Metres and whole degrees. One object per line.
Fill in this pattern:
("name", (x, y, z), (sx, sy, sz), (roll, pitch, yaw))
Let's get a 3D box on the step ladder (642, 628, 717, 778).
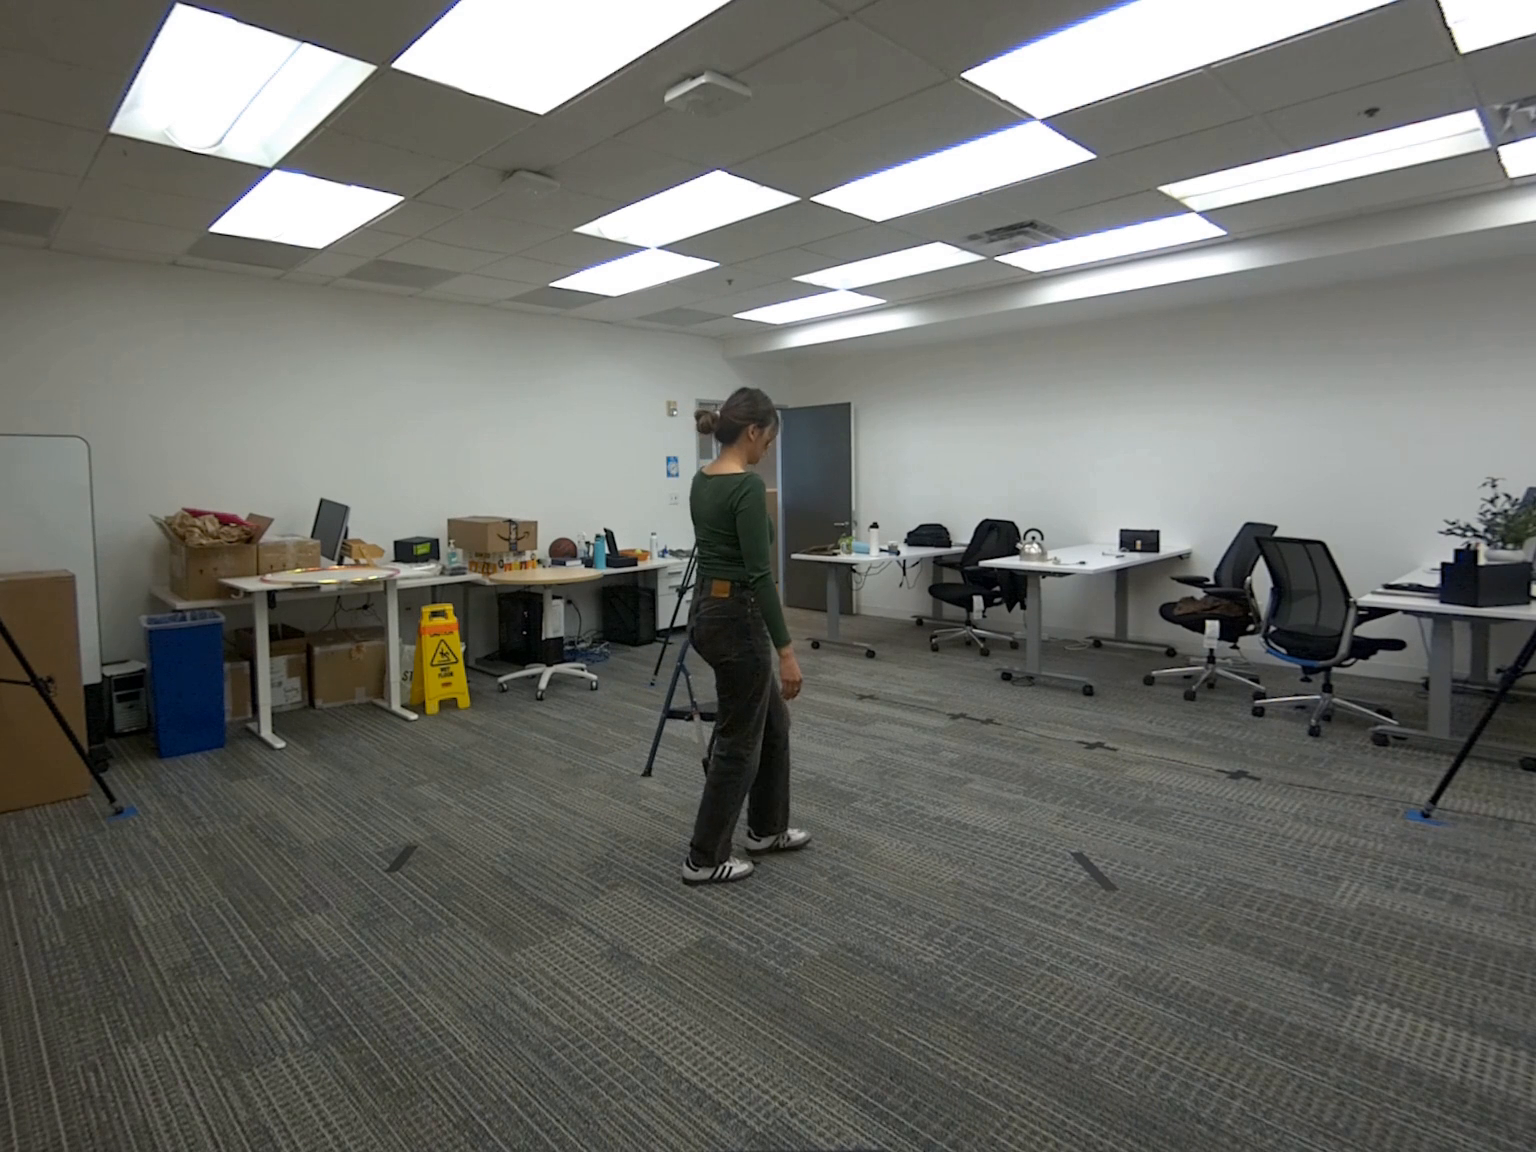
("step ladder", (-0.251, 0.487, 3.444), (0.358, 0.609, 0.418), (-4, -5, 32))
